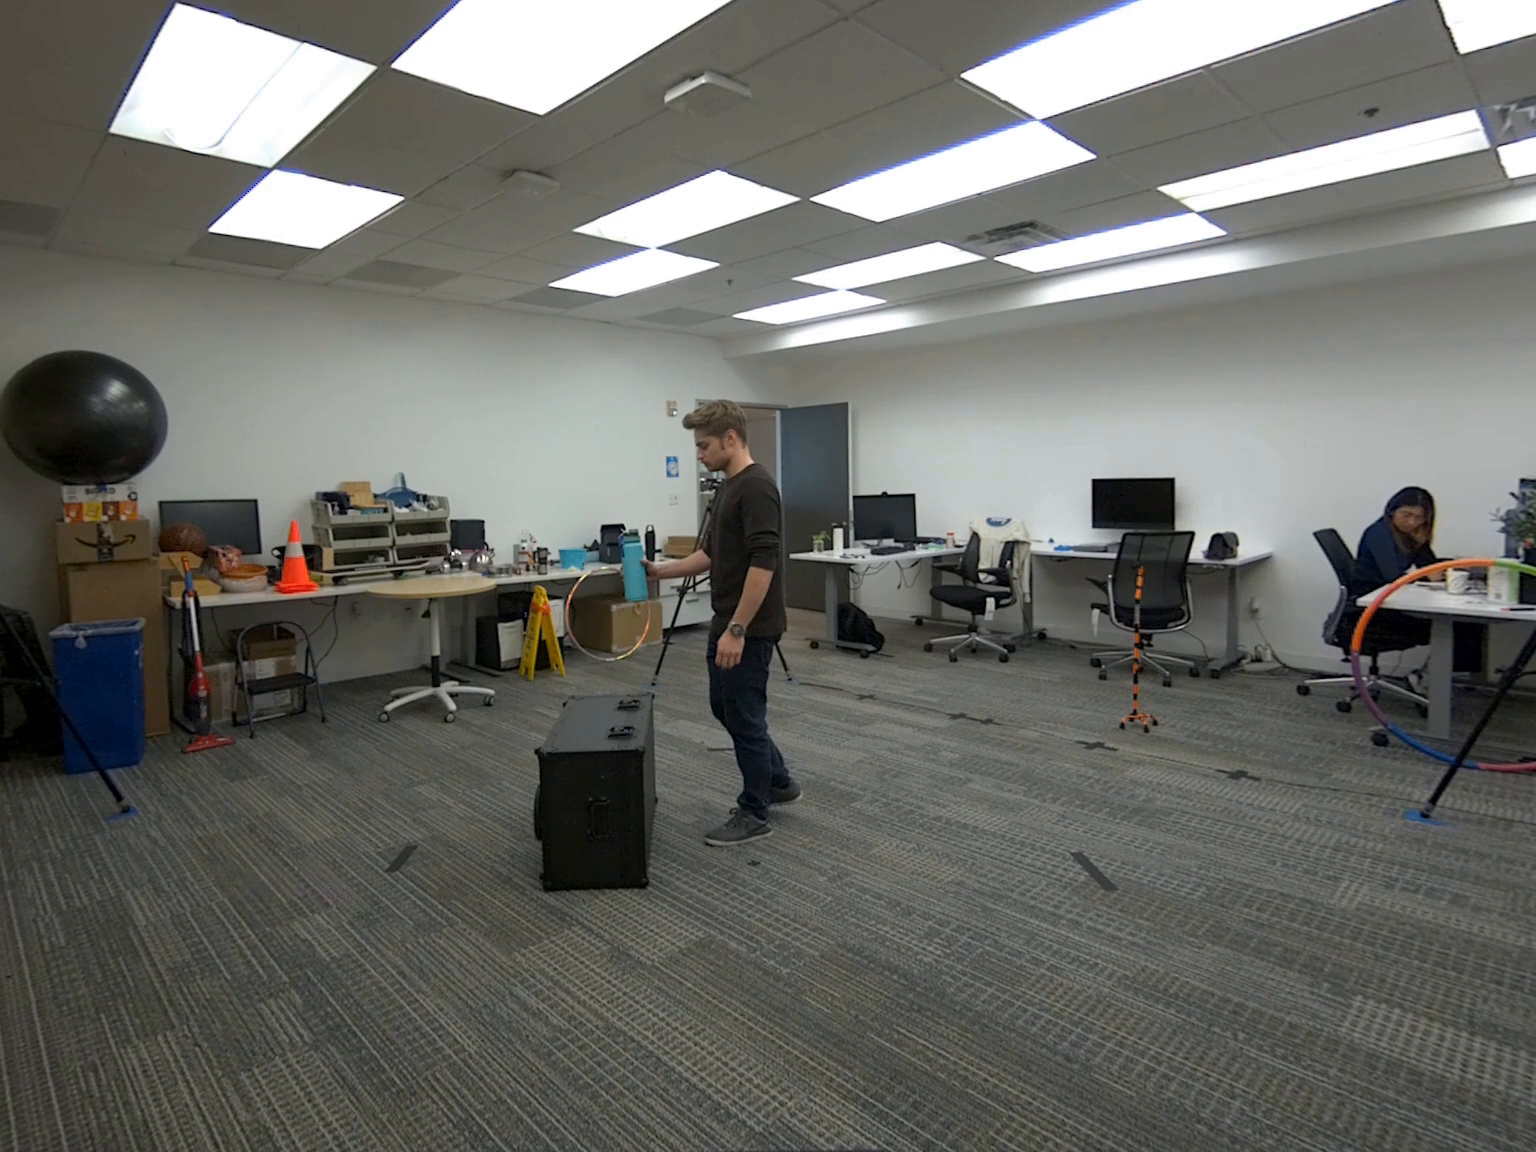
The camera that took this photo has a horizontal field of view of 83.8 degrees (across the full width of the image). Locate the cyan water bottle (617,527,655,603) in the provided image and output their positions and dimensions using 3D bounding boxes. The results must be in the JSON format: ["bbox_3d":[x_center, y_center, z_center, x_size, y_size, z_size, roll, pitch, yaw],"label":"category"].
[{"bbox_3d":[-0.525,-0.048,3.391,0.092,0.283,0.092,-10,1,-1],"label":"cyan water bottle"}]
